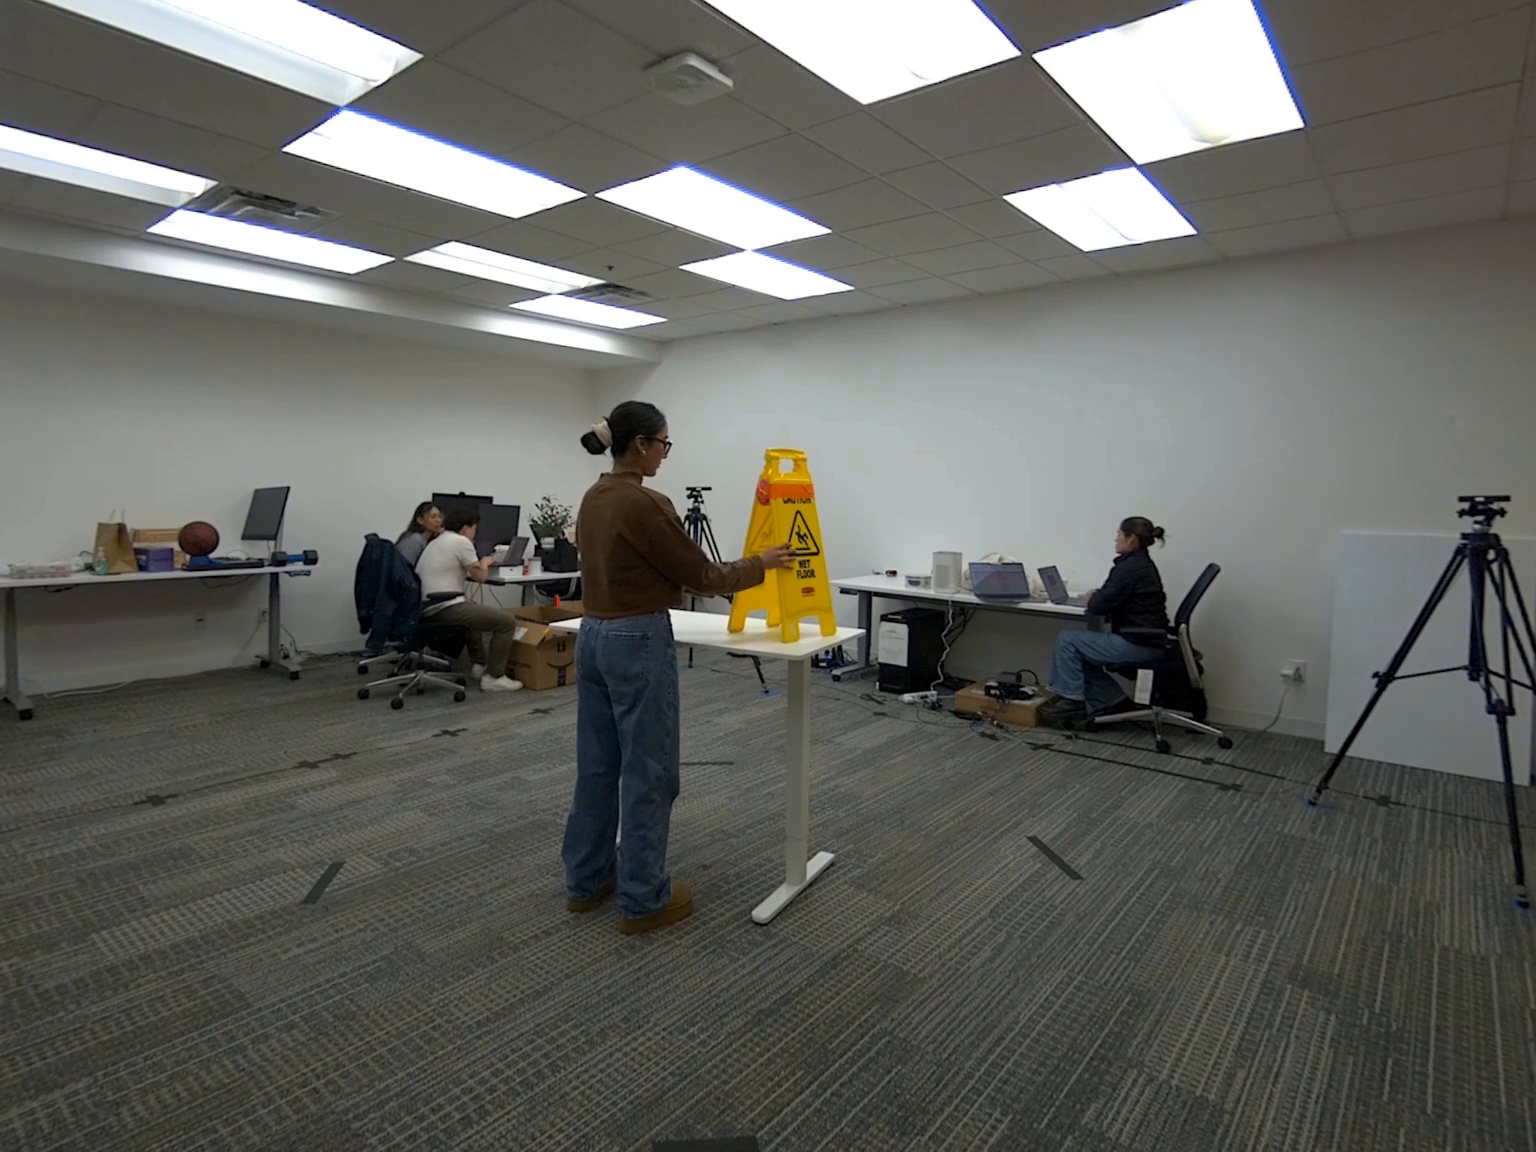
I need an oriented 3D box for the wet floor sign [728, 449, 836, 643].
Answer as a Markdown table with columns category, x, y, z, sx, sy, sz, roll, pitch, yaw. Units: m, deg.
| category | x | y | z | sx | sy | sz | roll | pitch | yaw |
| --- | --- | --- | --- | --- | --- | --- | --- | --- | --- |
| wet floor sign | 0.045 | -0.122 | 2.979 | 0.299 | 0.645 | 0.273 | 3 | 3 | 43 |
